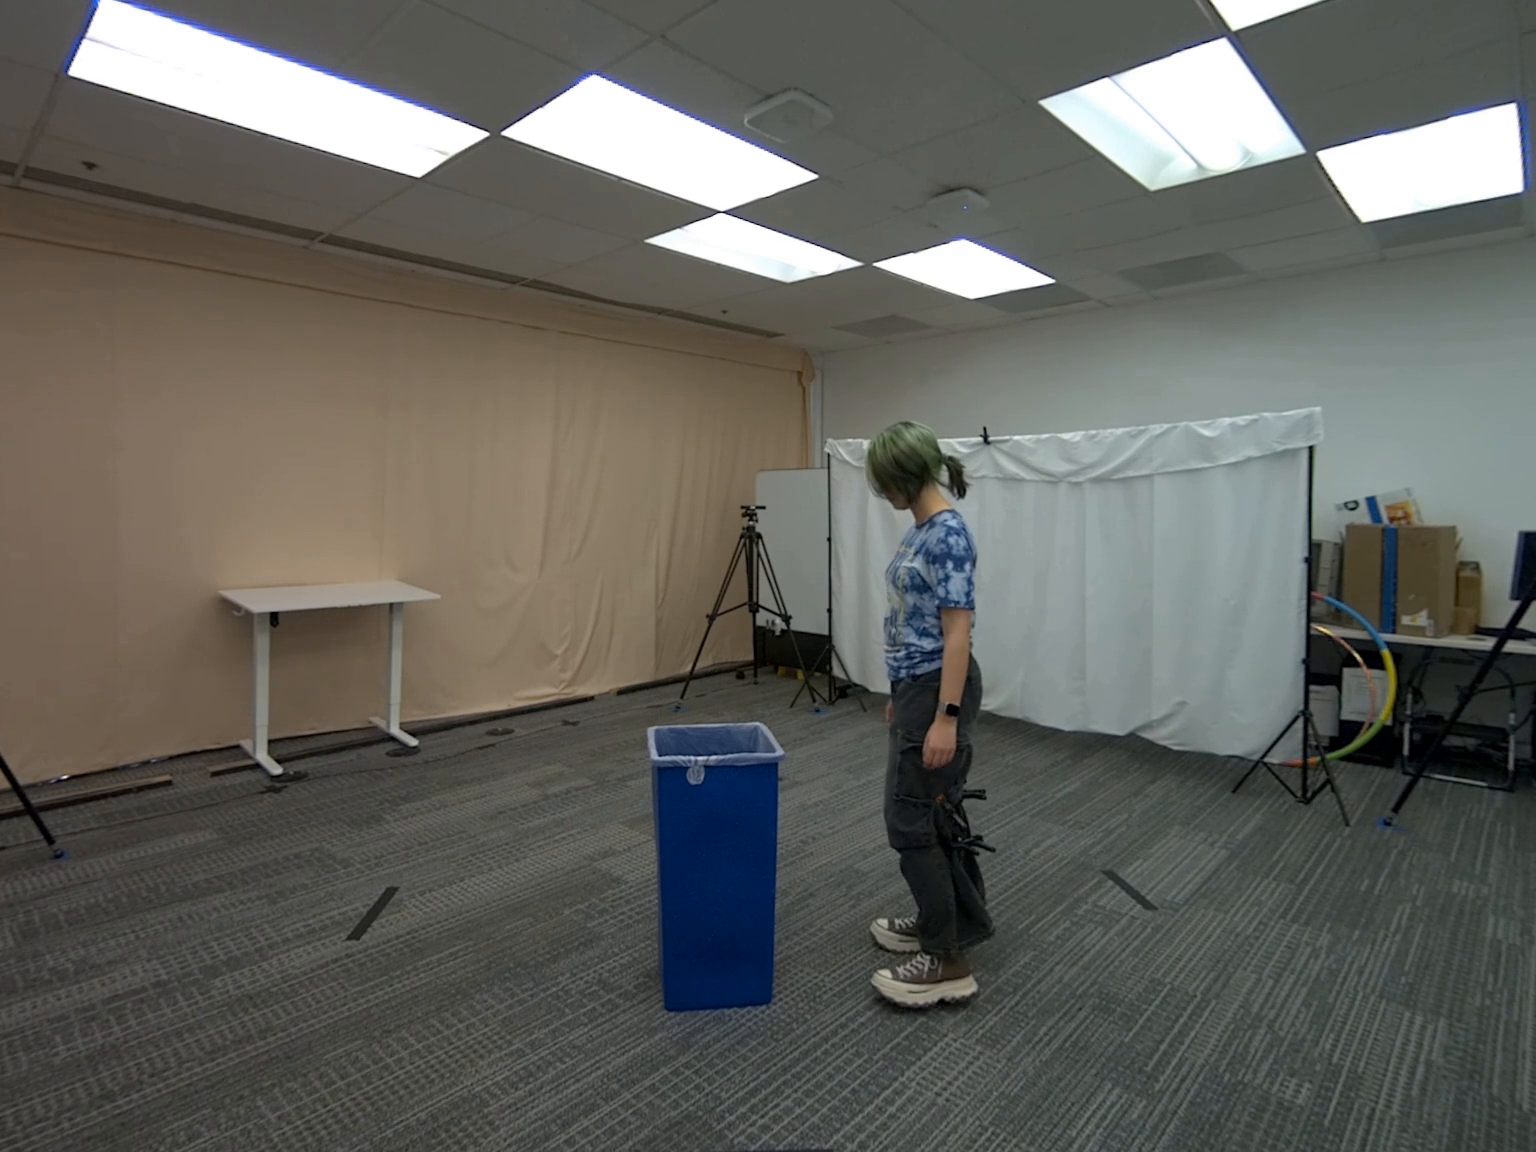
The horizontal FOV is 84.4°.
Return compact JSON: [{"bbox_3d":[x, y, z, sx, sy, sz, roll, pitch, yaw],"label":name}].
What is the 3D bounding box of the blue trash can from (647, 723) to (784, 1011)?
[{"bbox_3d":[-0.158,0.835,2.467,0.375,0.712,0.378,0,3,-8],"label":"blue trash can"}]
